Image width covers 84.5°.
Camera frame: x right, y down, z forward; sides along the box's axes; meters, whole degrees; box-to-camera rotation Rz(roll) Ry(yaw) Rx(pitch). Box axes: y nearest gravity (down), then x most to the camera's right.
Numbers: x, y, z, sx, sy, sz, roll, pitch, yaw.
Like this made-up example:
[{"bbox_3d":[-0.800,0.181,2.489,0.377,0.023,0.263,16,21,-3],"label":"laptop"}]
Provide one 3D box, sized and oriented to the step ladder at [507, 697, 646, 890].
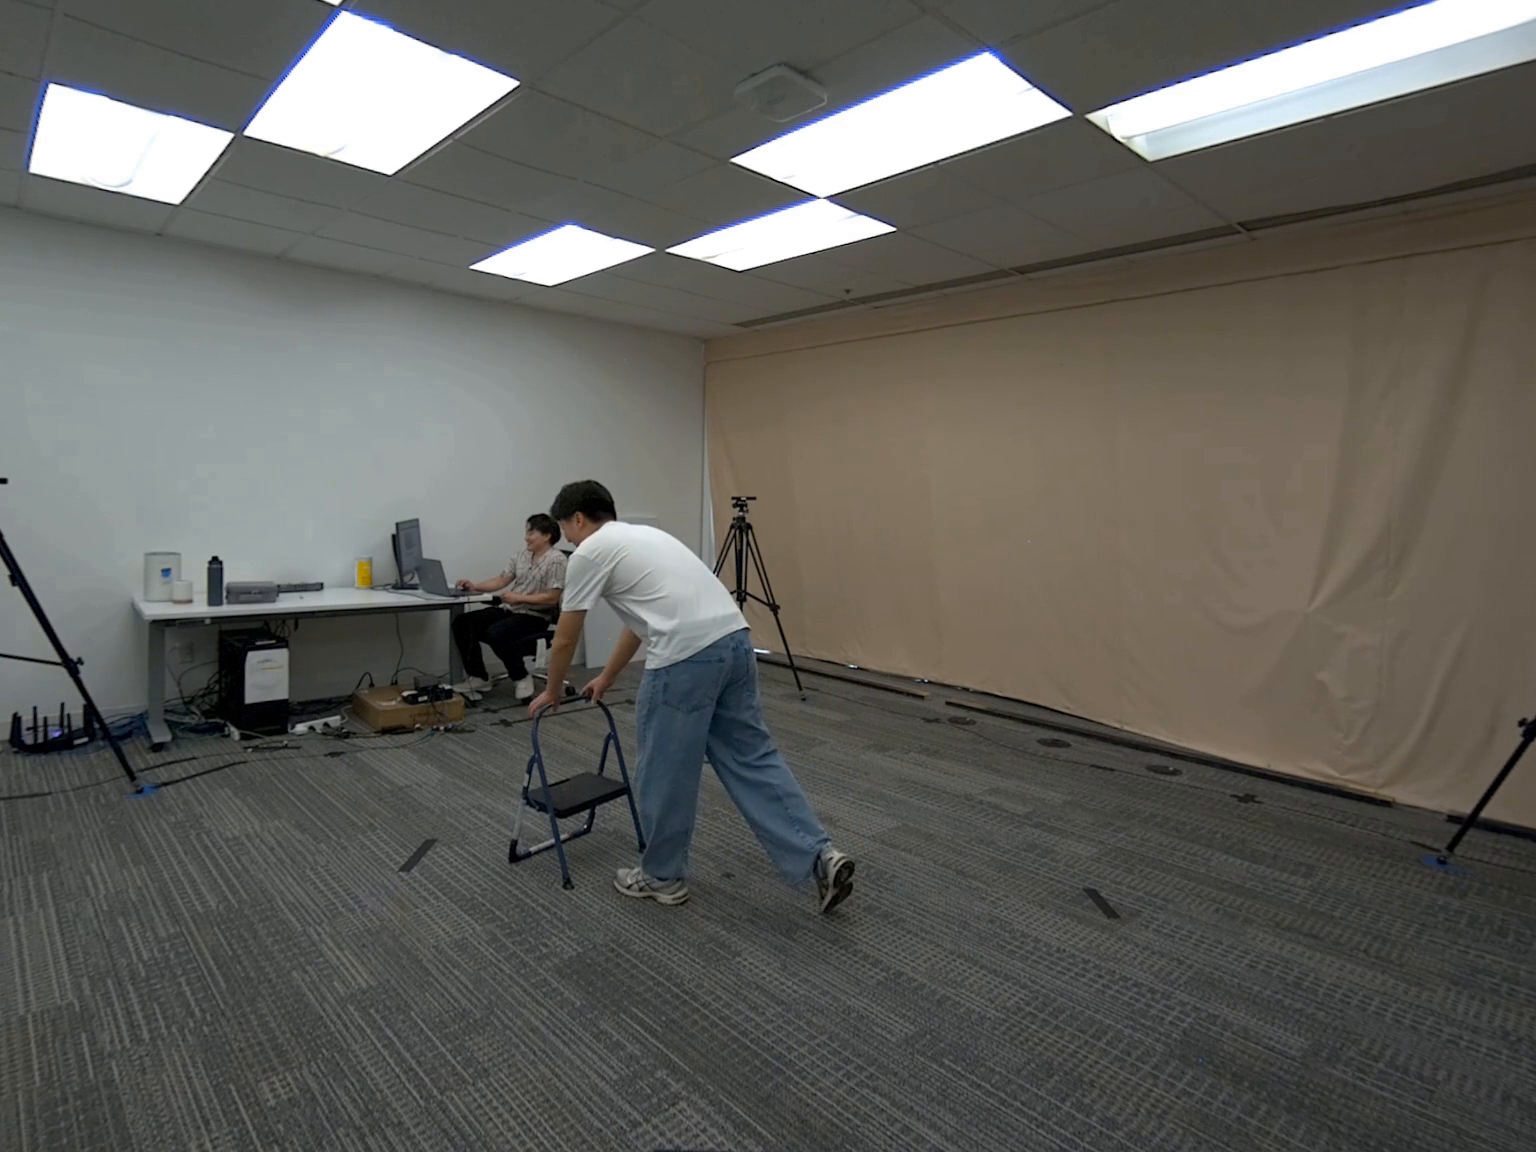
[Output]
[{"bbox_3d":[-0.723,0.780,3.221,0.357,0.604,0.421,4,5,34],"label":"step ladder"}]
